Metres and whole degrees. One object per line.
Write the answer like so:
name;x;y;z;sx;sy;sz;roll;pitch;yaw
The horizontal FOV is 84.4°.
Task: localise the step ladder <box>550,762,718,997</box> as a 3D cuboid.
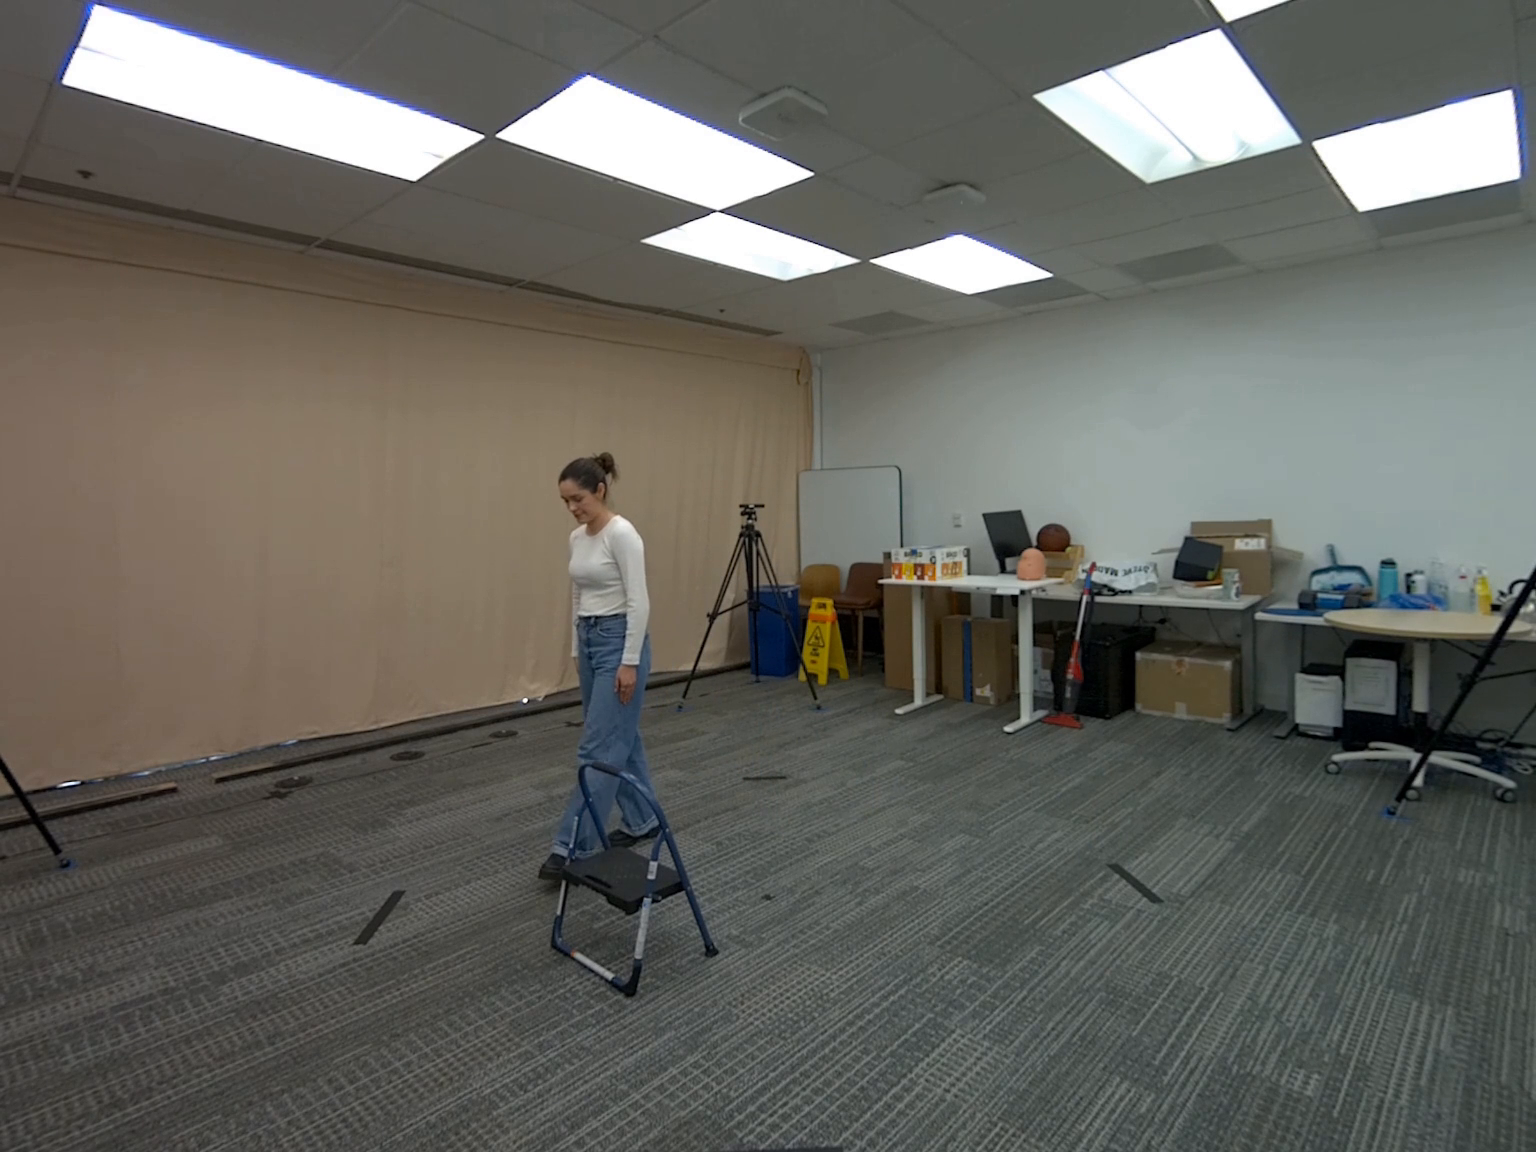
step ladder;-0.428;0.876;2.636;0.445;0.605;0.339;2;4;43
